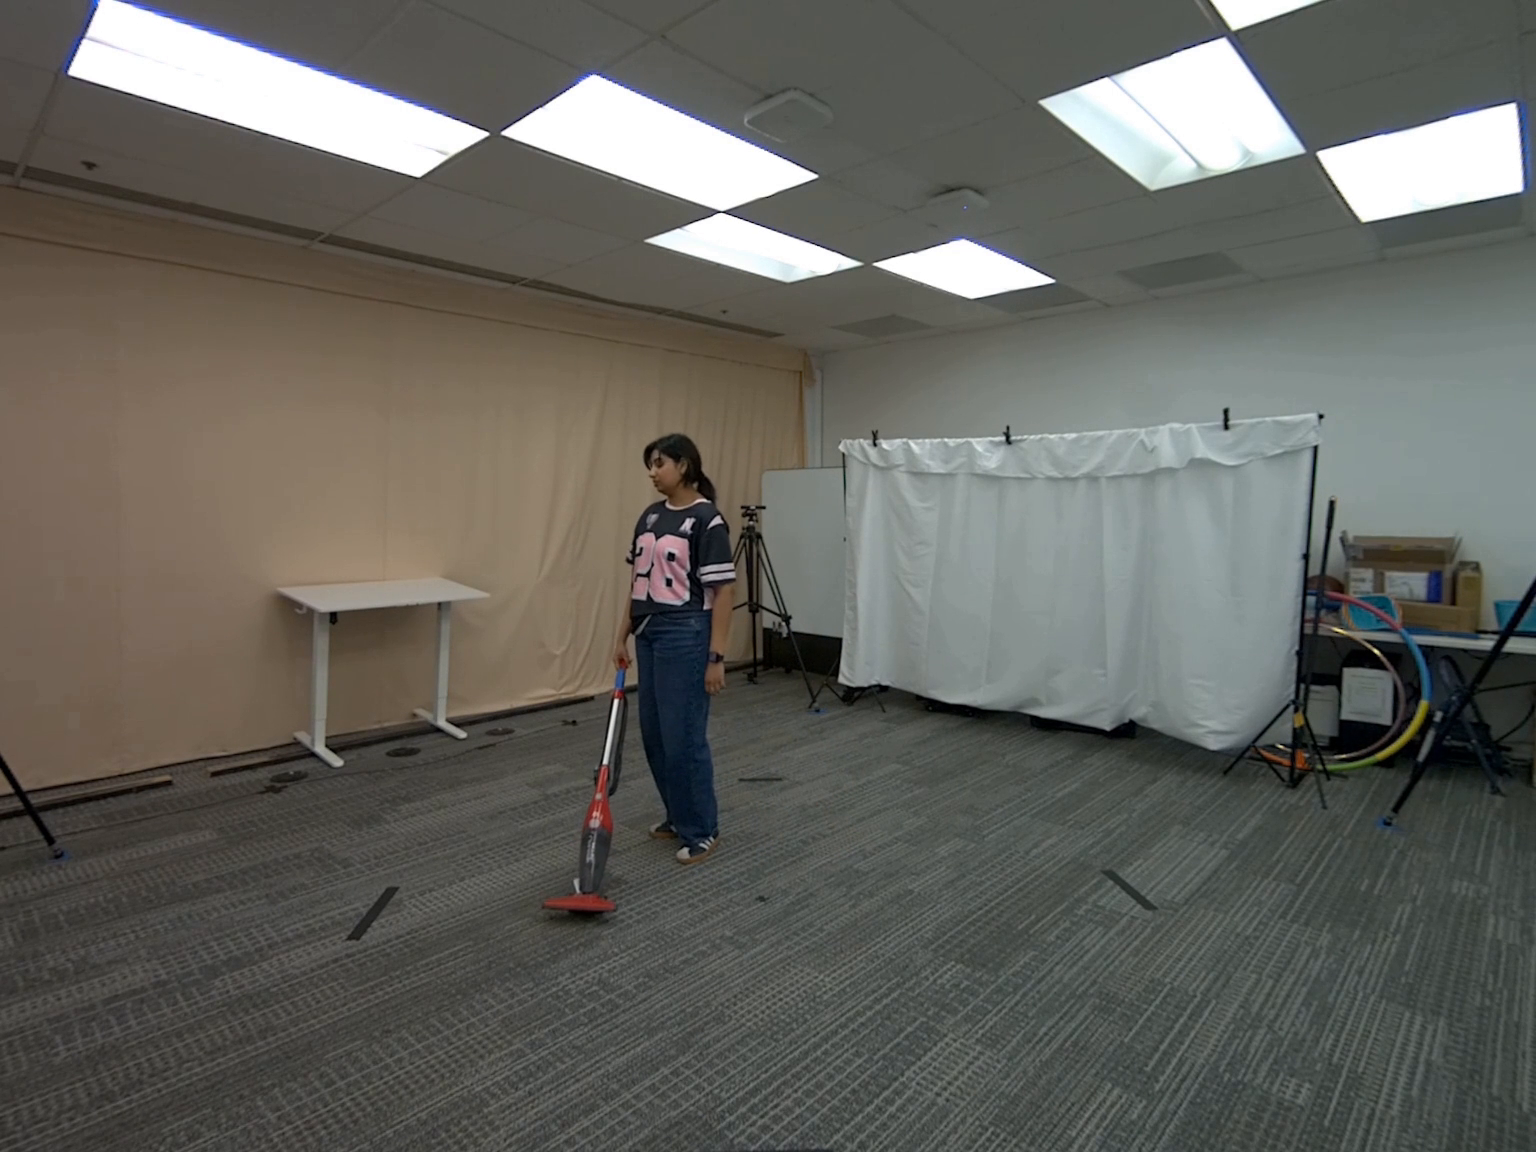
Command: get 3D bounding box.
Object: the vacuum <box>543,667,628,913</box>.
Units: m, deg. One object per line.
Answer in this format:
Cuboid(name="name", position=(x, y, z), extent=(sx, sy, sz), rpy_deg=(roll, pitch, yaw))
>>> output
Cuboid(name="vacuum", position=(-0.606, 0.744, 3.218), extent=(0.254, 0.141, 1.066), rpy_deg=(0, 47, 4))
